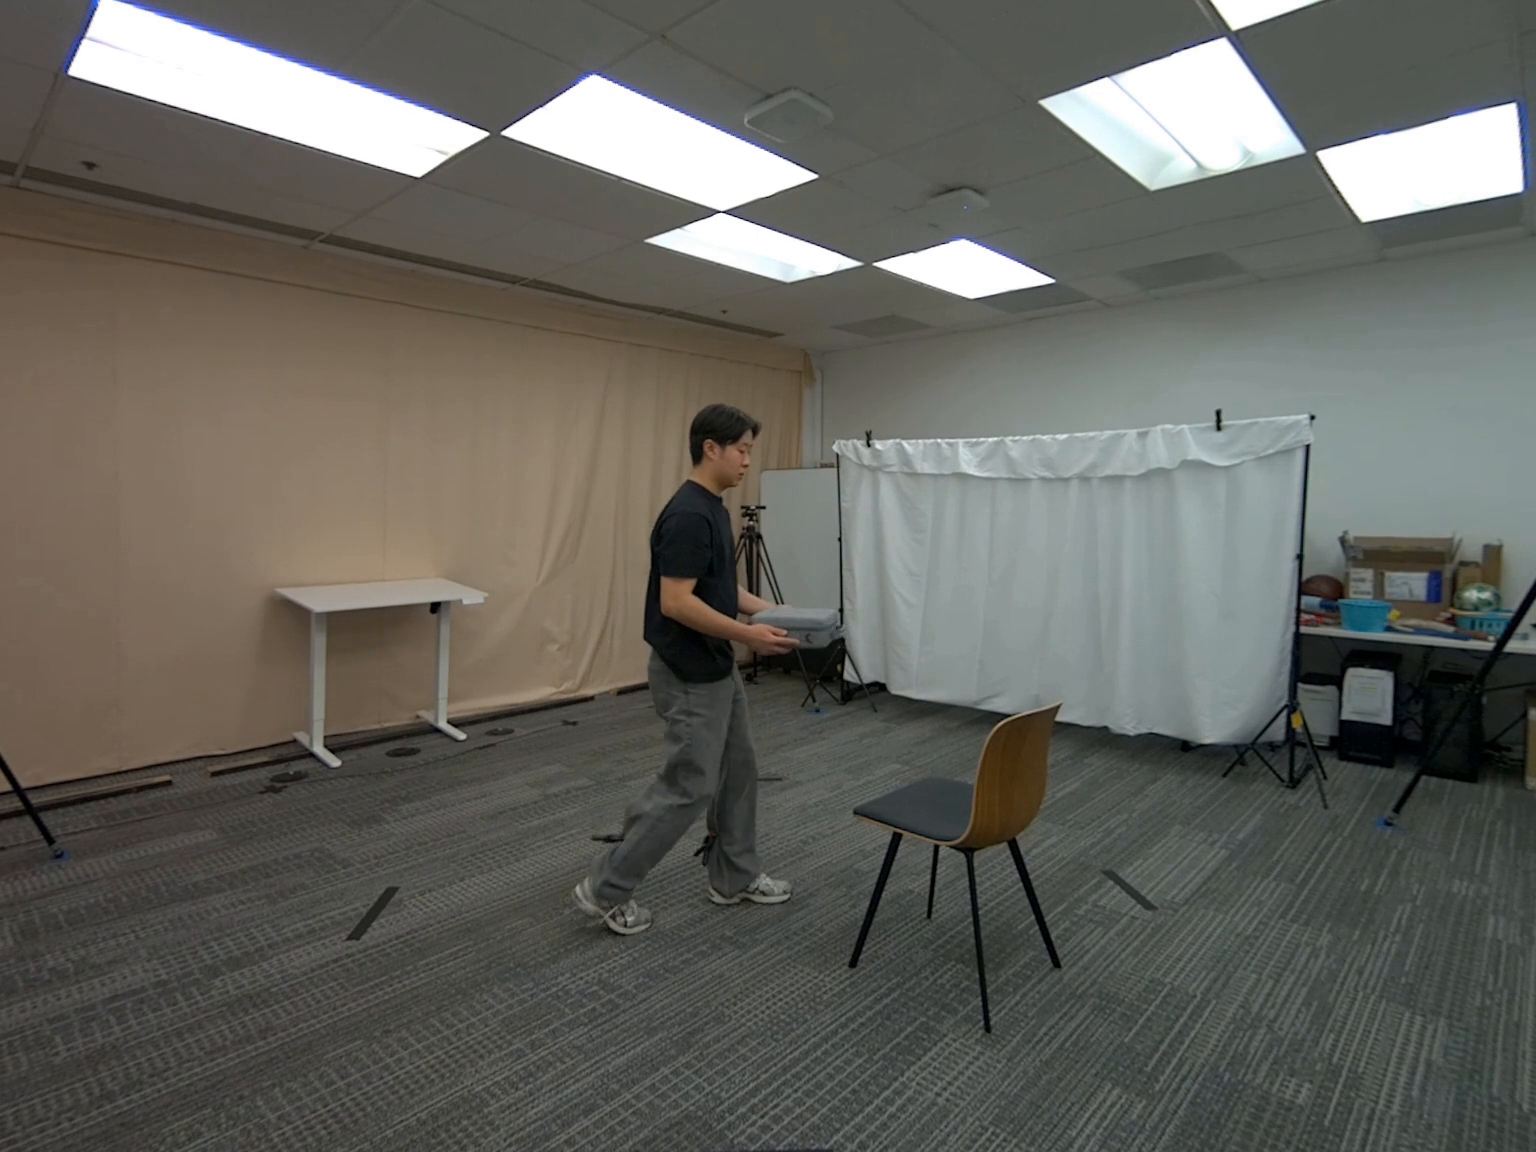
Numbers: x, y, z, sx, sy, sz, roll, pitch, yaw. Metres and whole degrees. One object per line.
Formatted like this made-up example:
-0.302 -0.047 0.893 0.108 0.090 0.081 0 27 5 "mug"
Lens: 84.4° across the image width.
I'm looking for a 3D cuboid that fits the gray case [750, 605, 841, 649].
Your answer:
0.102 0.165 2.733 0.294 0.103 0.257 1 2 21 "gray case"
